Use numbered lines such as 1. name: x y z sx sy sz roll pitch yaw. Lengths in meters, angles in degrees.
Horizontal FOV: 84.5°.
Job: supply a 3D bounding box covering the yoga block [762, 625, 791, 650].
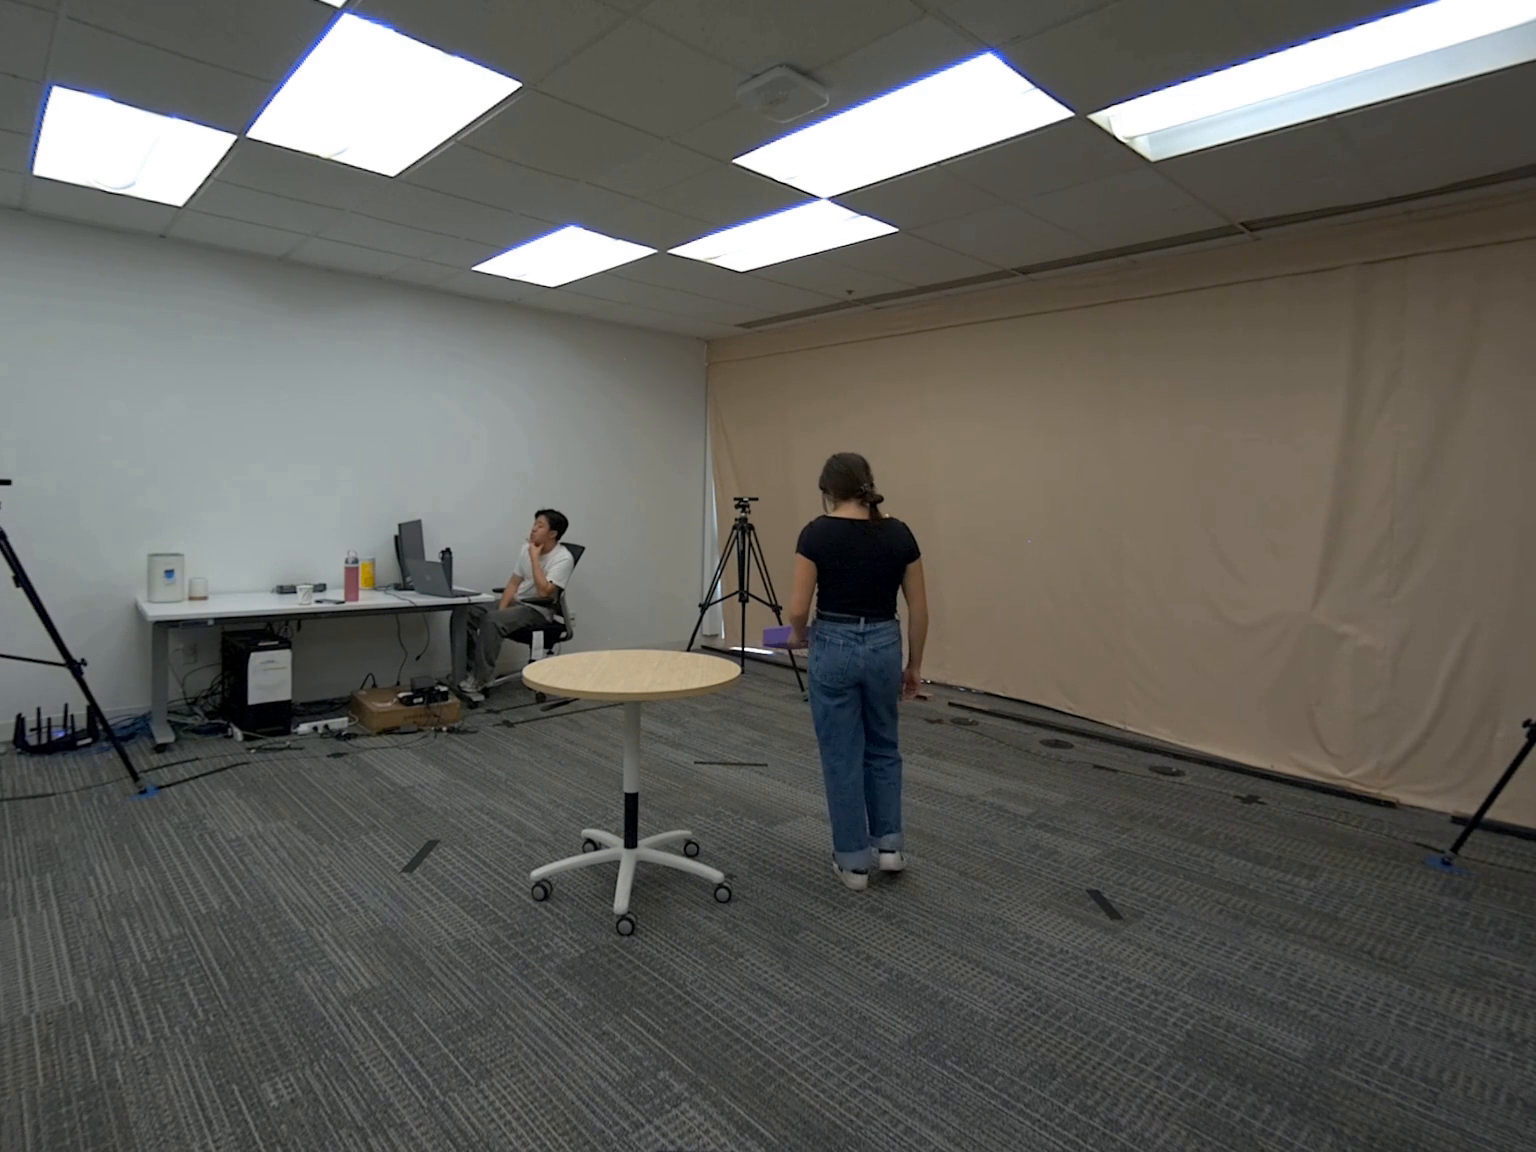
1. yoga block: 0.113 0.251 3.351 0.145 0.077 0.234 11 -14 -42
